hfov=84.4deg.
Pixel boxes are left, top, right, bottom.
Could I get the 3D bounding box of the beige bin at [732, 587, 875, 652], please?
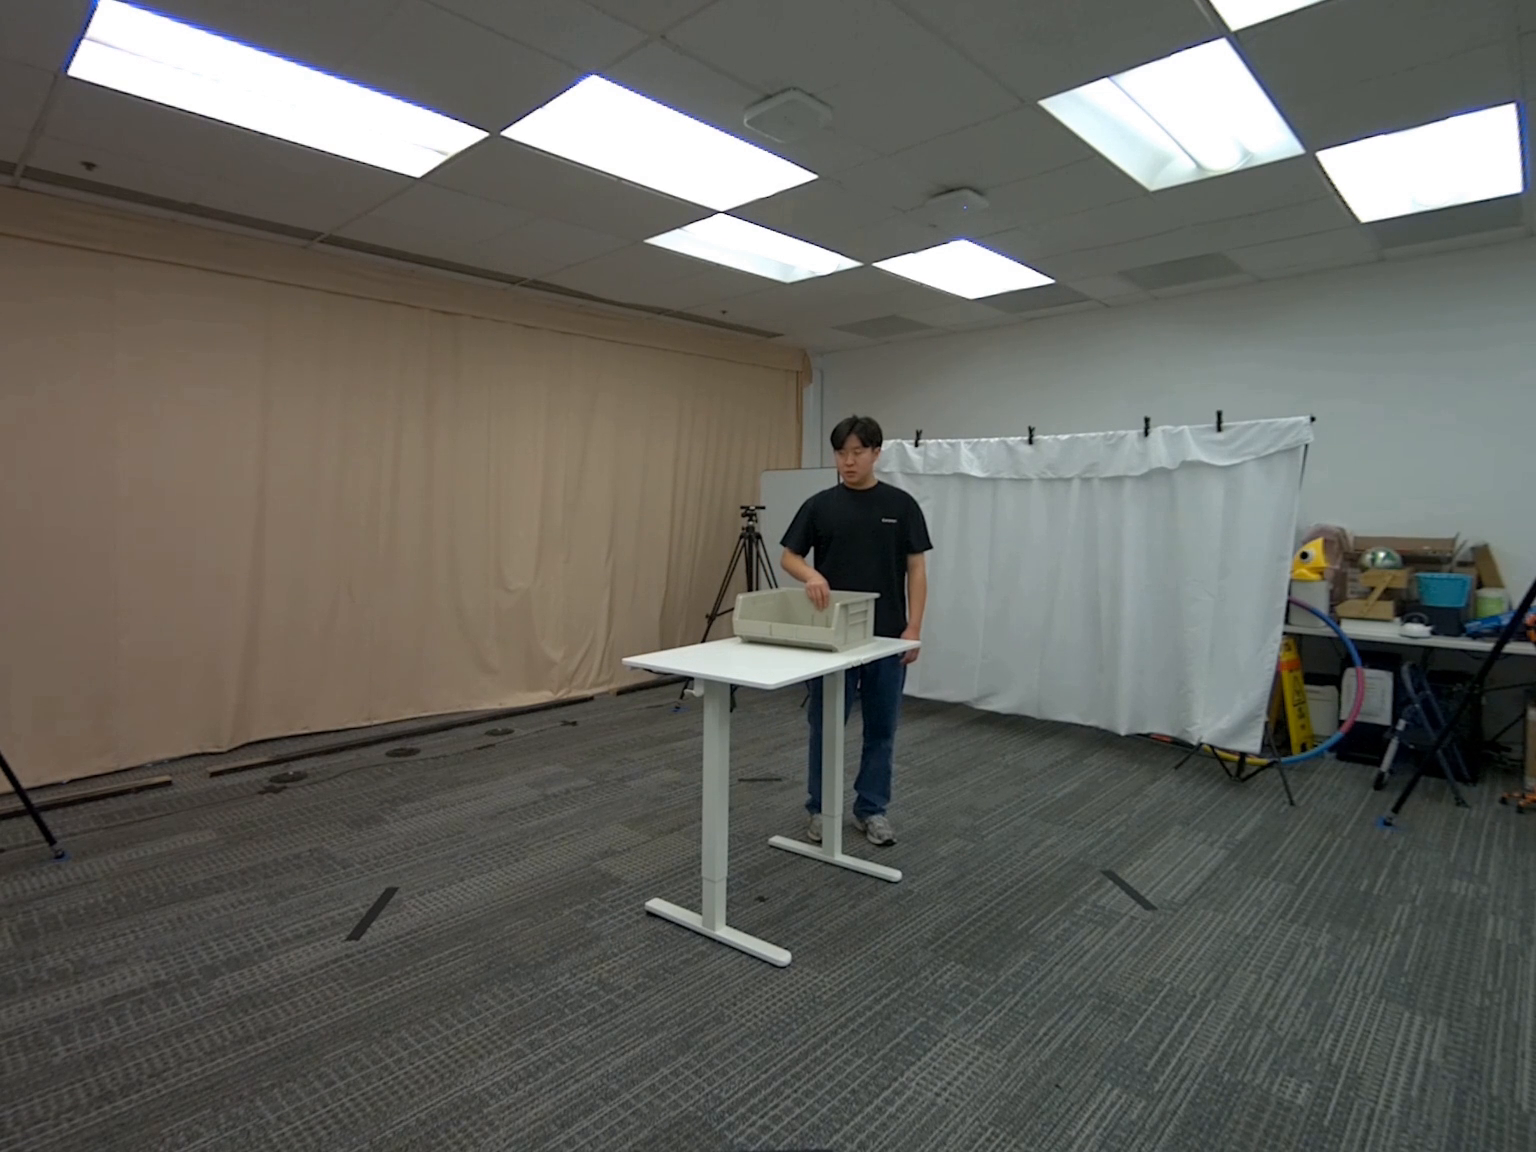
[{"bbox_3d":[0.146,0.162,3.143,0.435,0.189,0.367,2,4,32],"label":"beige bin"}]
